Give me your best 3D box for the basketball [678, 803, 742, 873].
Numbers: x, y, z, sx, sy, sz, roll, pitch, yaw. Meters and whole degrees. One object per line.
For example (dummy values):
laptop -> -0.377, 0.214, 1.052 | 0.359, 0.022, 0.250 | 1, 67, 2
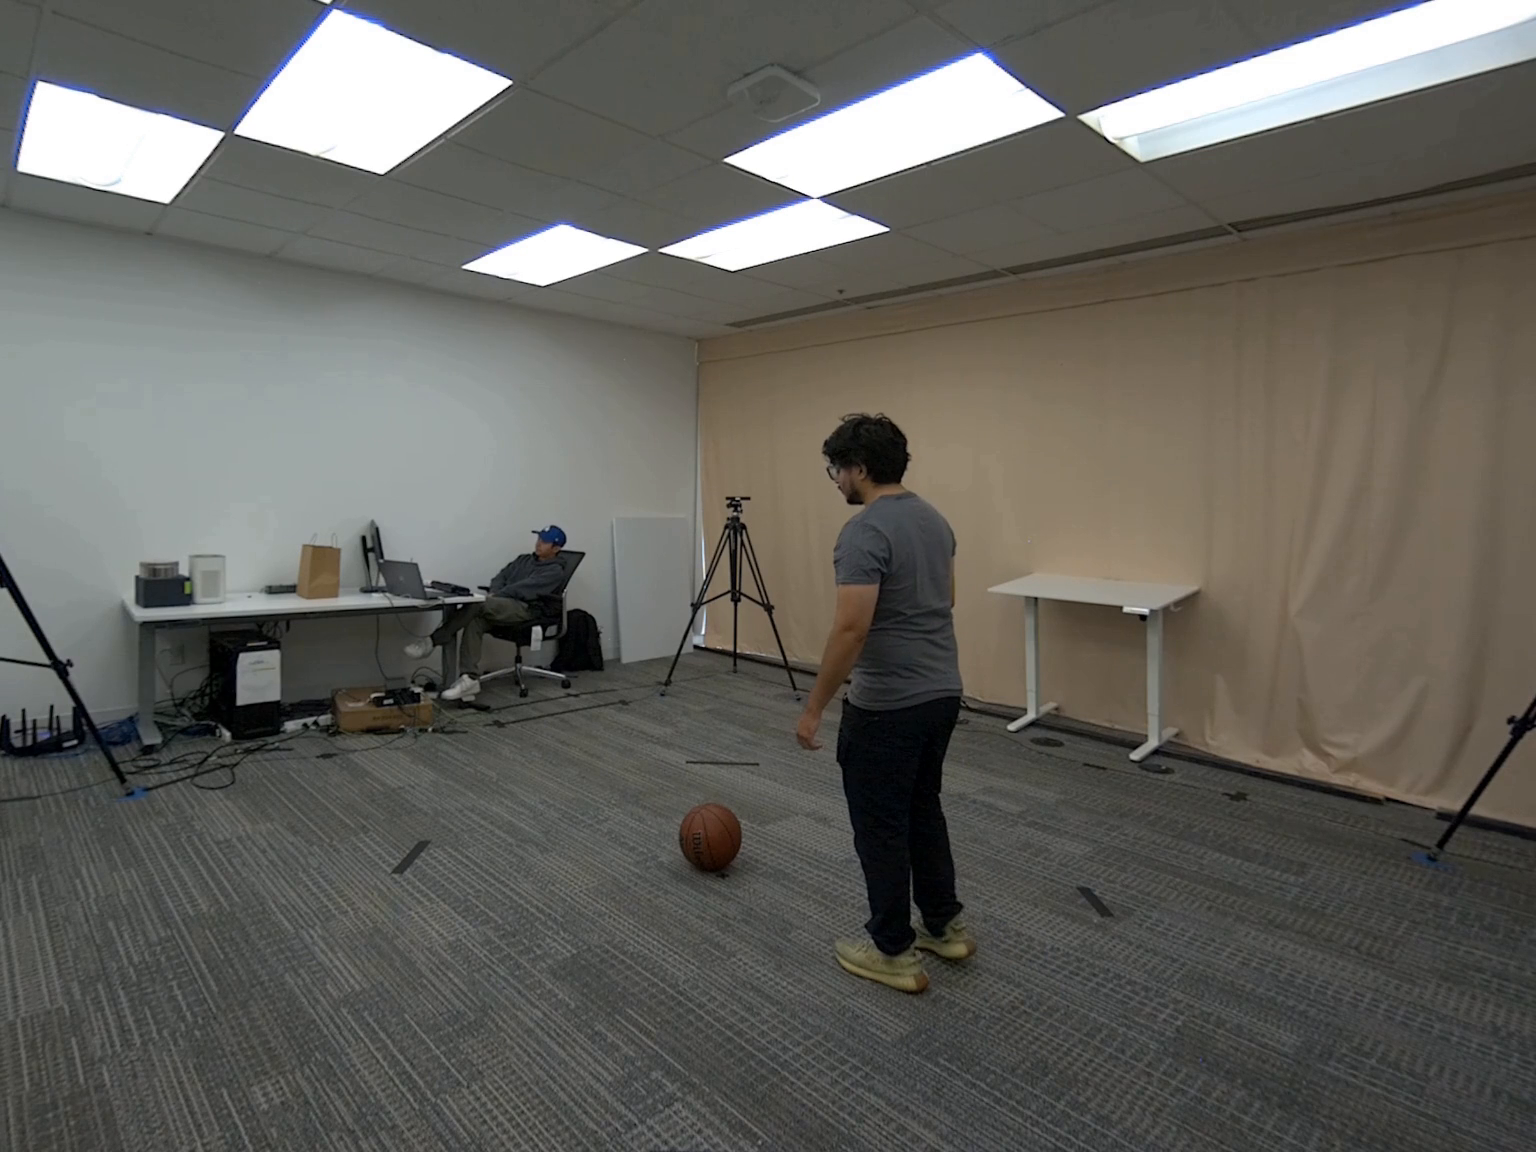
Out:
basketball -> -0.219, 0.975, 3.165 | 0.236, 0.235, 0.237 | 1, 4, -1
